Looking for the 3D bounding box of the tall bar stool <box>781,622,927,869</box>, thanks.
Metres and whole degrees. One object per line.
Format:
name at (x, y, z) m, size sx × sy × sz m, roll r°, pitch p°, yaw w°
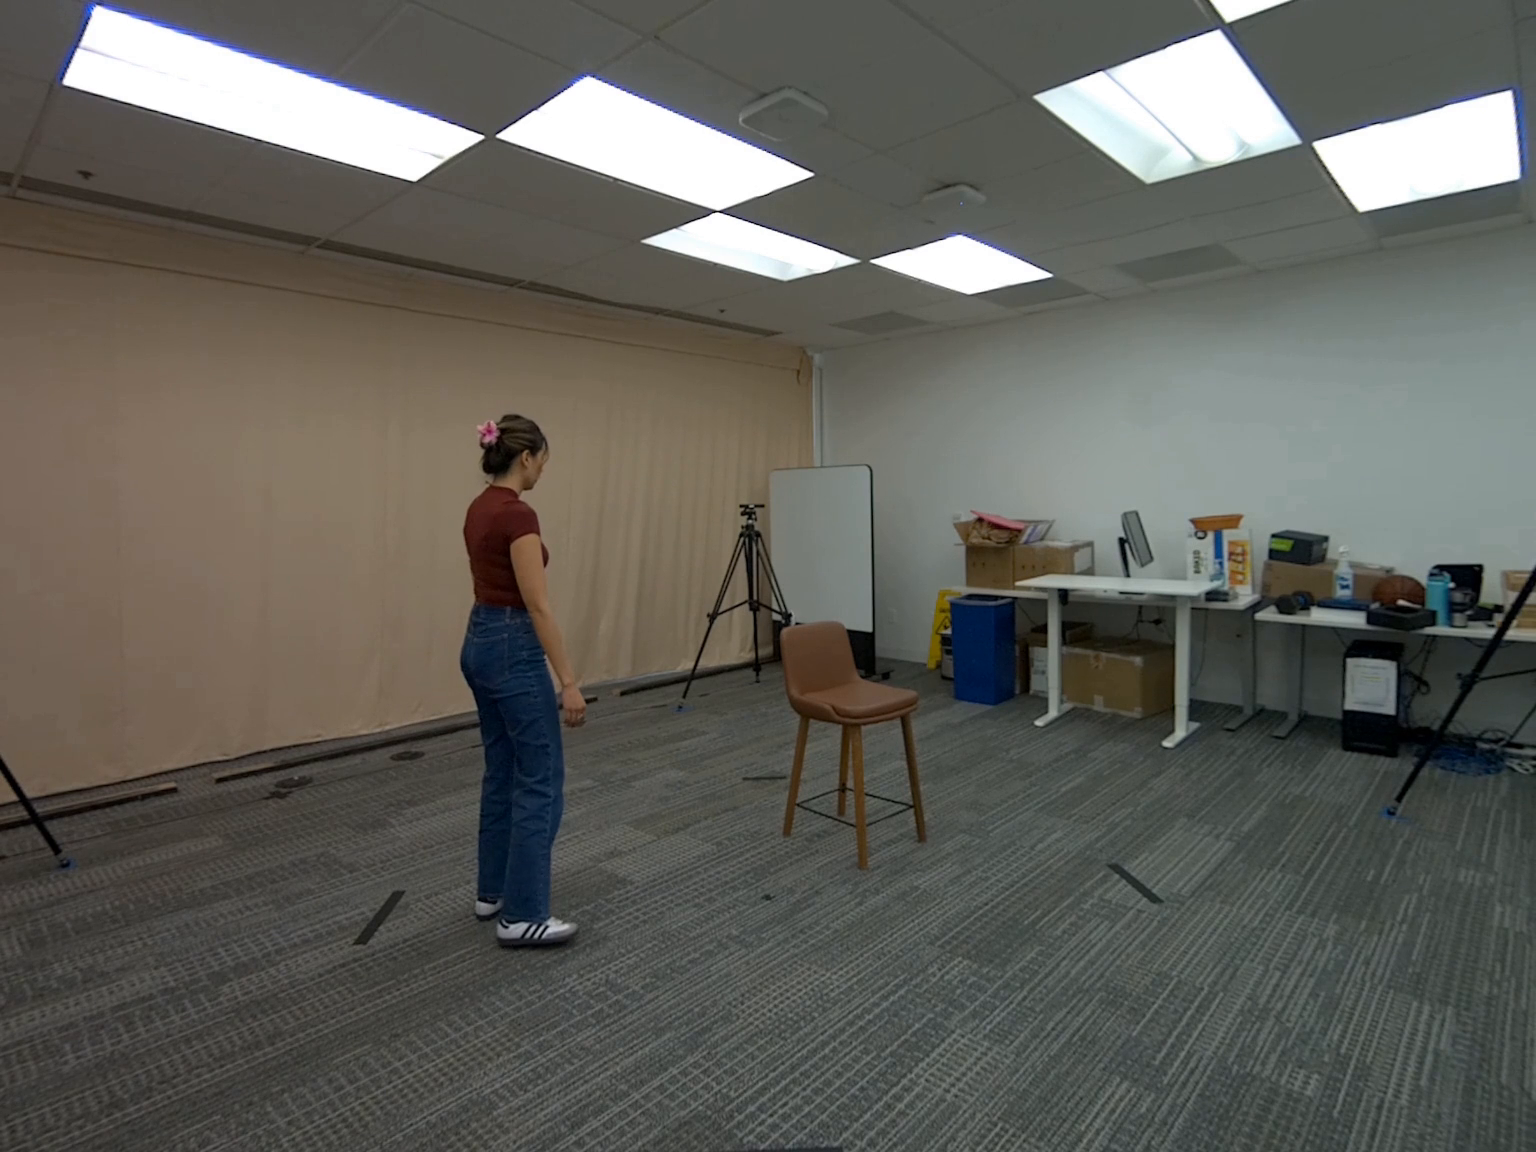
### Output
tall bar stool at (0.344, 0.655, 3.477) m, size 0.442 × 0.889 × 0.483 m, roll -3°, pitch 2°, yaw -43°
